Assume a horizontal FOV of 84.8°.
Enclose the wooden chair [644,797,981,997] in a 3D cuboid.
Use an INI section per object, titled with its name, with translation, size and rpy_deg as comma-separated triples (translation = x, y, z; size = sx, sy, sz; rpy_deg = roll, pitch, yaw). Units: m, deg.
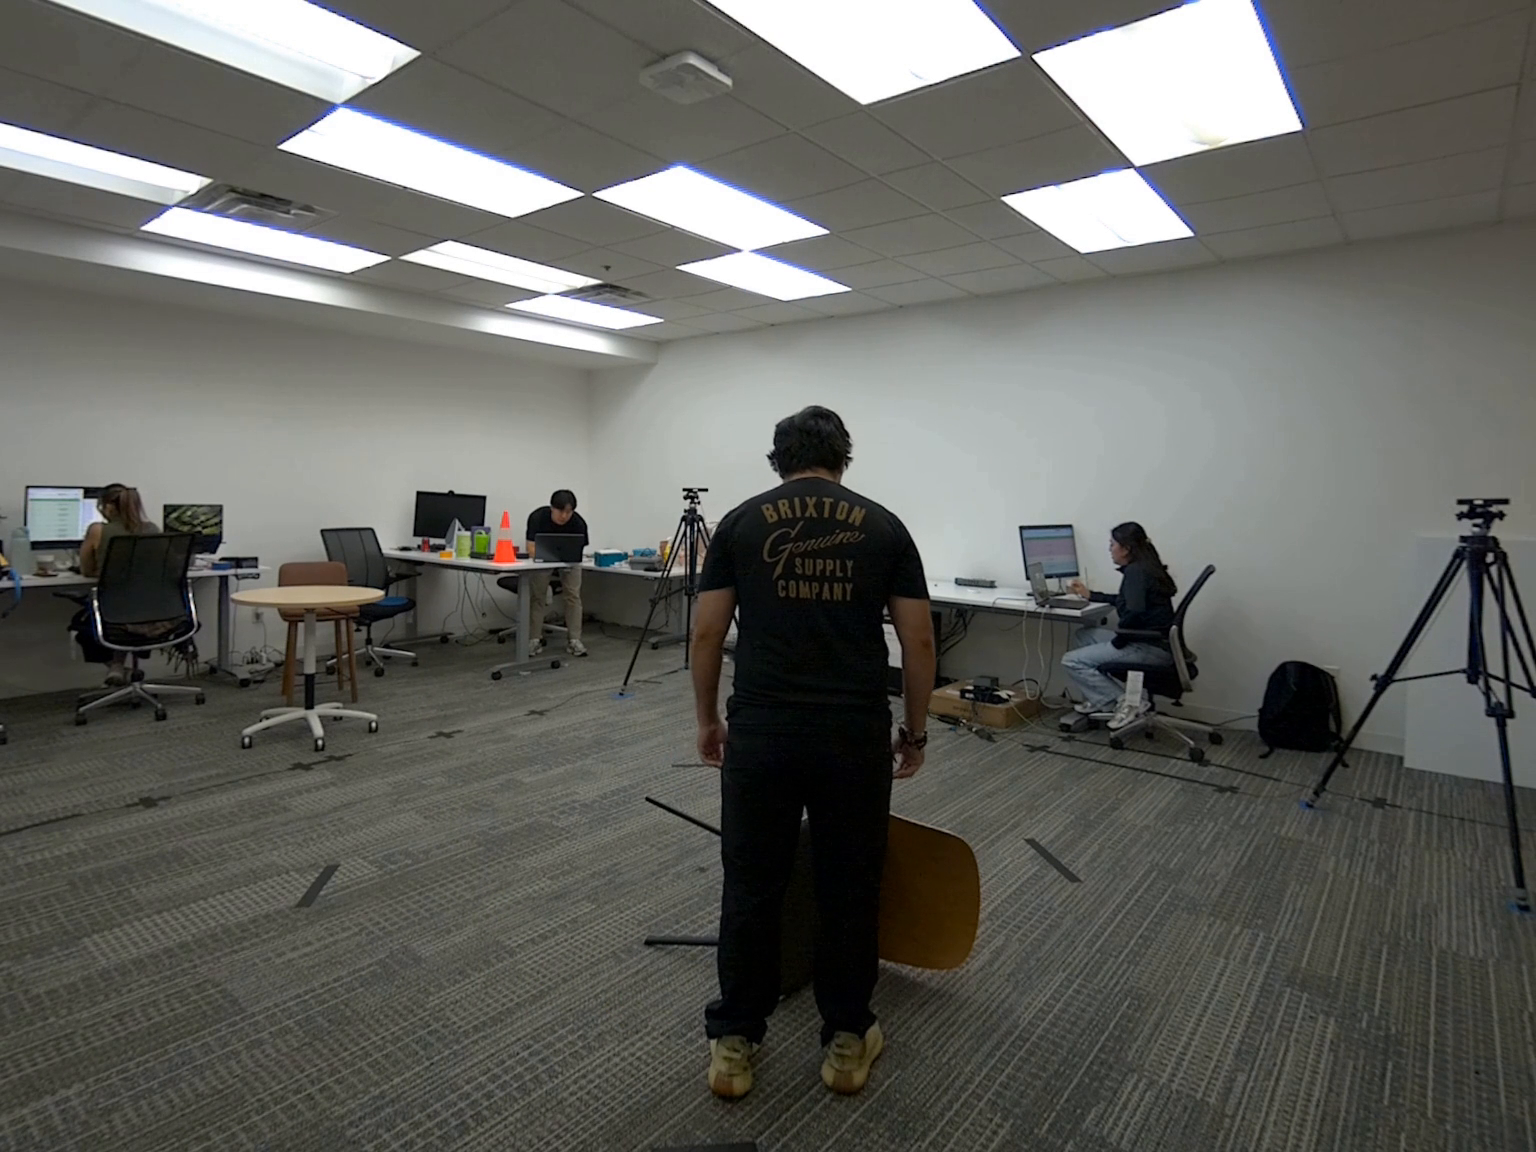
[wooden chair]
translation = 0.096, 0.906, 2.459
size = 0.905, 0.477, 0.508
rpy_deg = 5, 5, 34
